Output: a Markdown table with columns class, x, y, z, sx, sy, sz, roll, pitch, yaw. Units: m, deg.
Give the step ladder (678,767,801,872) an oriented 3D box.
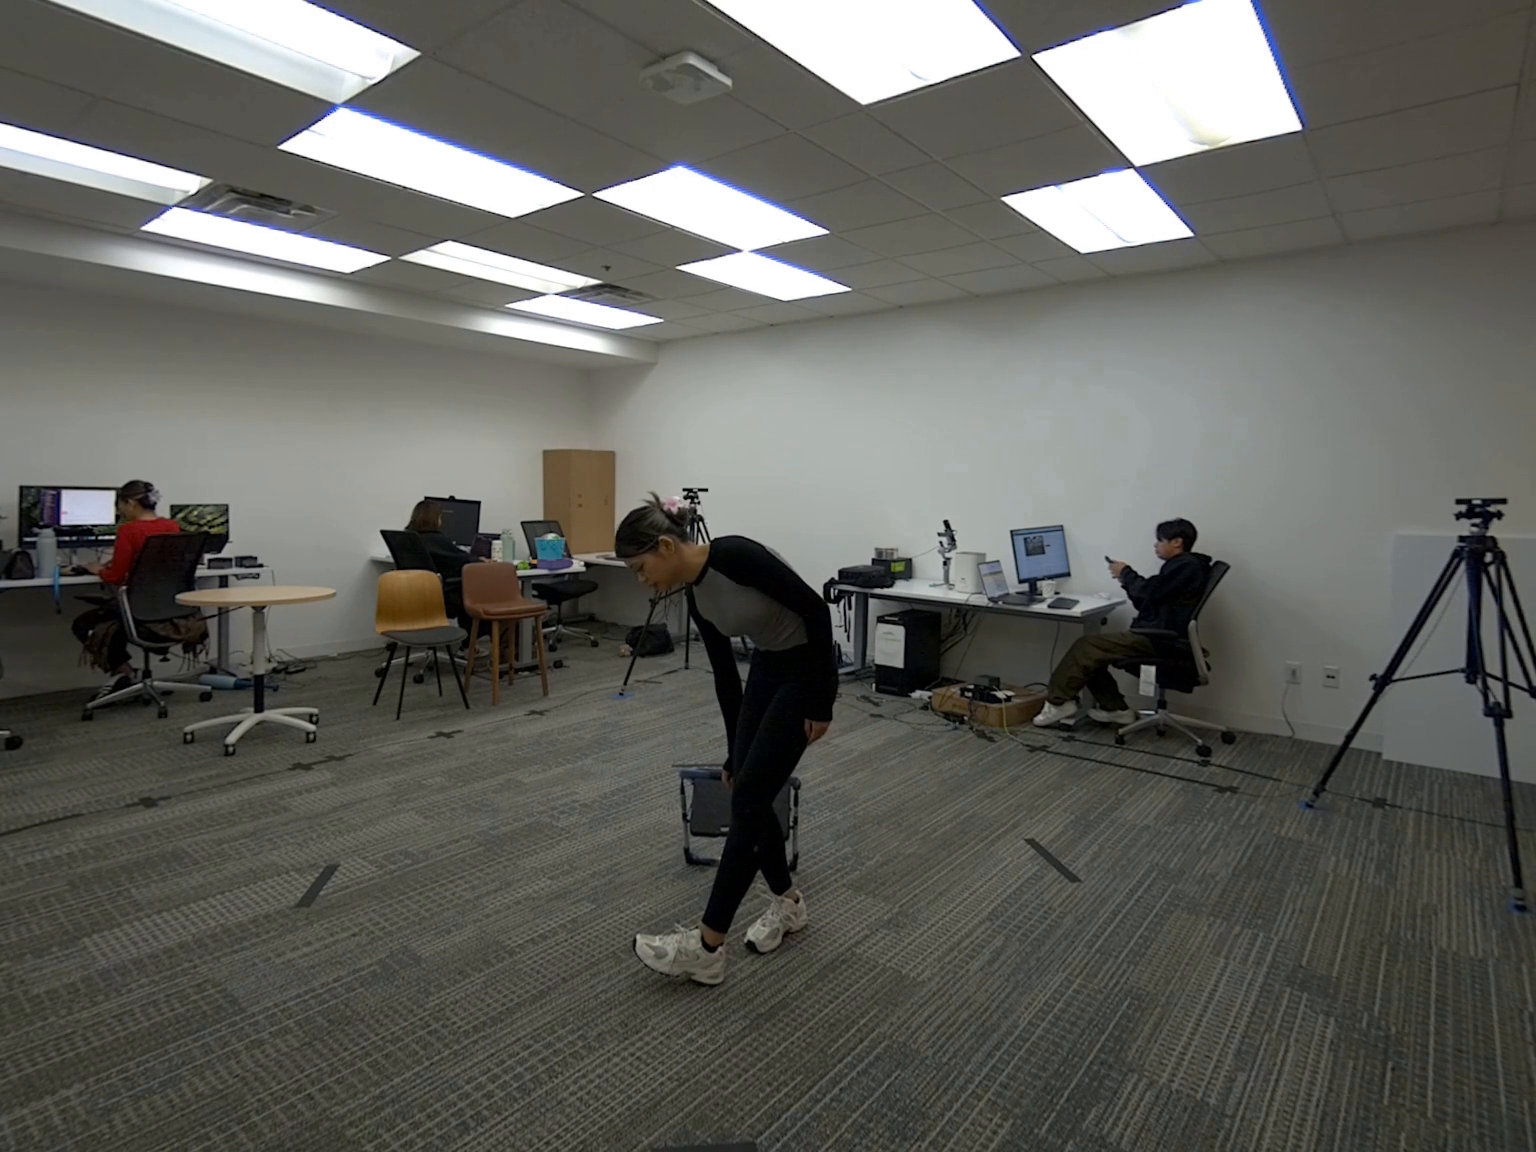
| class | x | y | z | sx | sy | sz | roll | pitch | yaw |
| --- | --- | --- | --- | --- | --- | --- | --- | --- | --- |
| step ladder | -0.107 | 0.760 | 3.019 | 0.433 | 0.358 | 0.588 | 2 | -37 | 3 |
